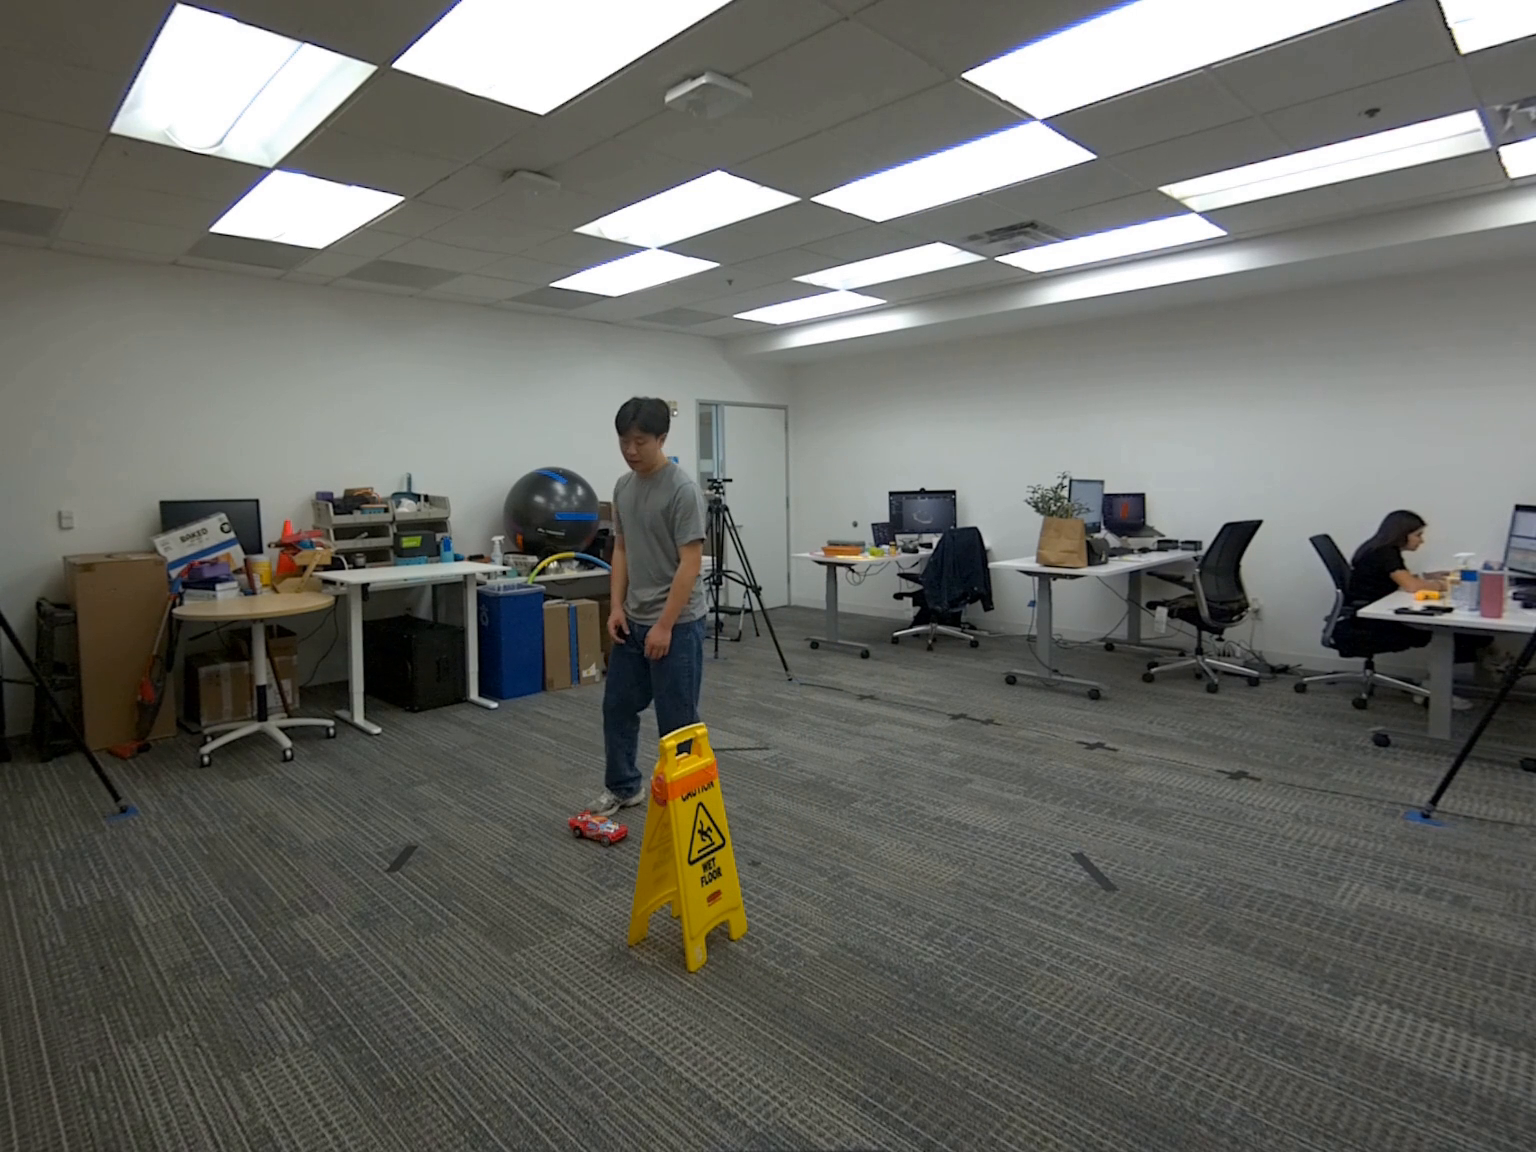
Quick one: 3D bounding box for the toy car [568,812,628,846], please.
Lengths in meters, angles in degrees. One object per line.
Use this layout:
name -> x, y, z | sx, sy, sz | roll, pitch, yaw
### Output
toy car -> -0.676, 0.997, 3.367 | 0.262, 0.082, 0.127 | 14, 13, 31
